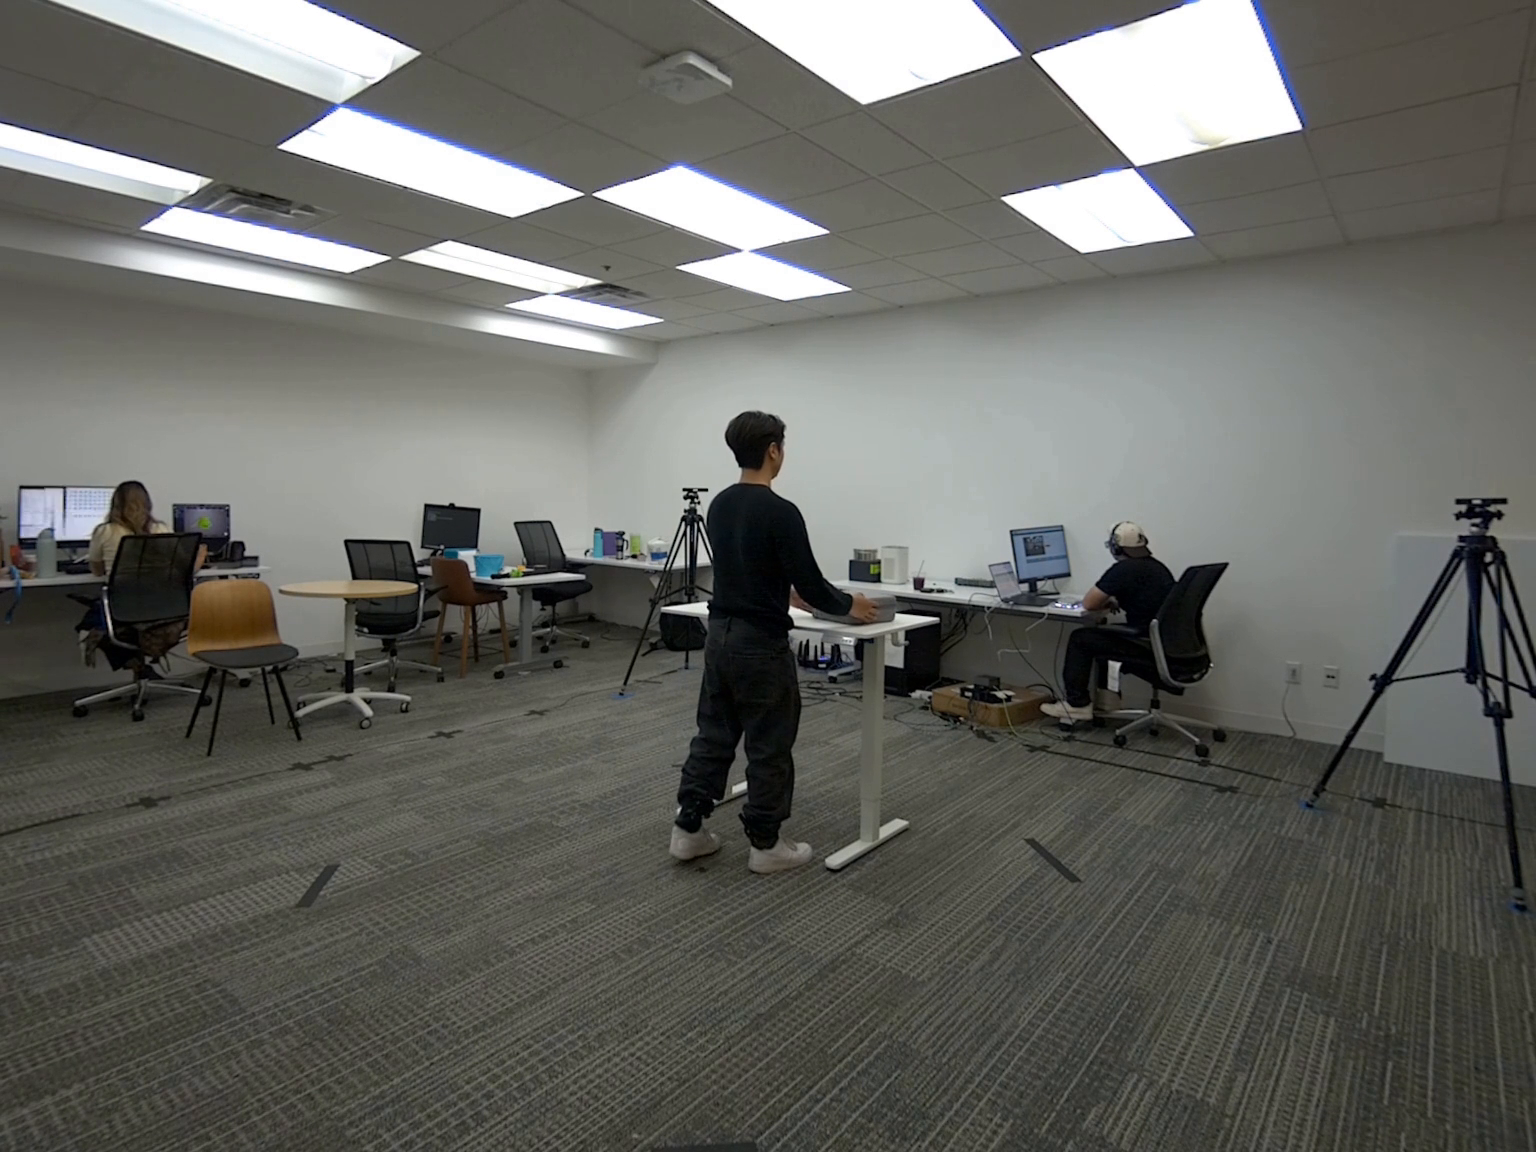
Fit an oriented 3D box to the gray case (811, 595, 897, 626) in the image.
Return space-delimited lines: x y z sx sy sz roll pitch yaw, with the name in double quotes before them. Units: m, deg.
"gray case" 0.332 0.119 3.364 0.253 0.104 0.265 -2 7 -35
